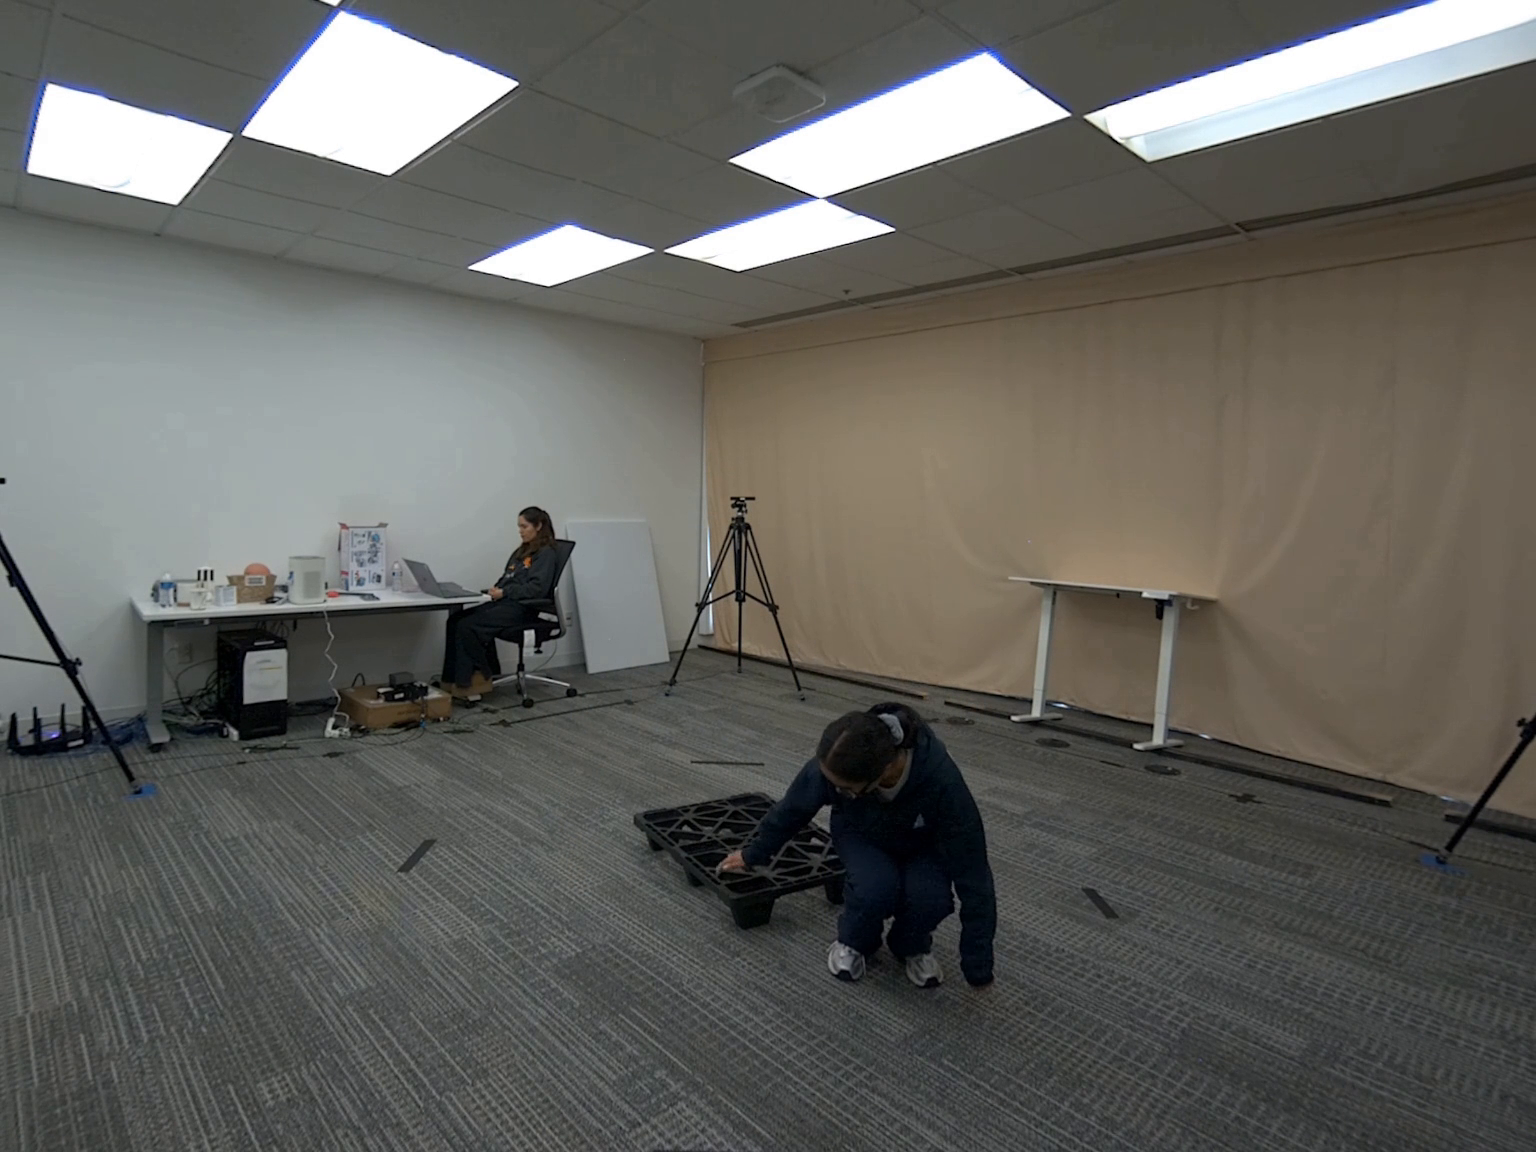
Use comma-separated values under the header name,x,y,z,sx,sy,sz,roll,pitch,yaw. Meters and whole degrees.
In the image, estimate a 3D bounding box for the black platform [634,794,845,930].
name,x,y,z,sx,sy,sz,roll,pitch,yaw
black platform,-0.083,1.038,3.147,0.592,0.143,0.825,-1,6,-31
